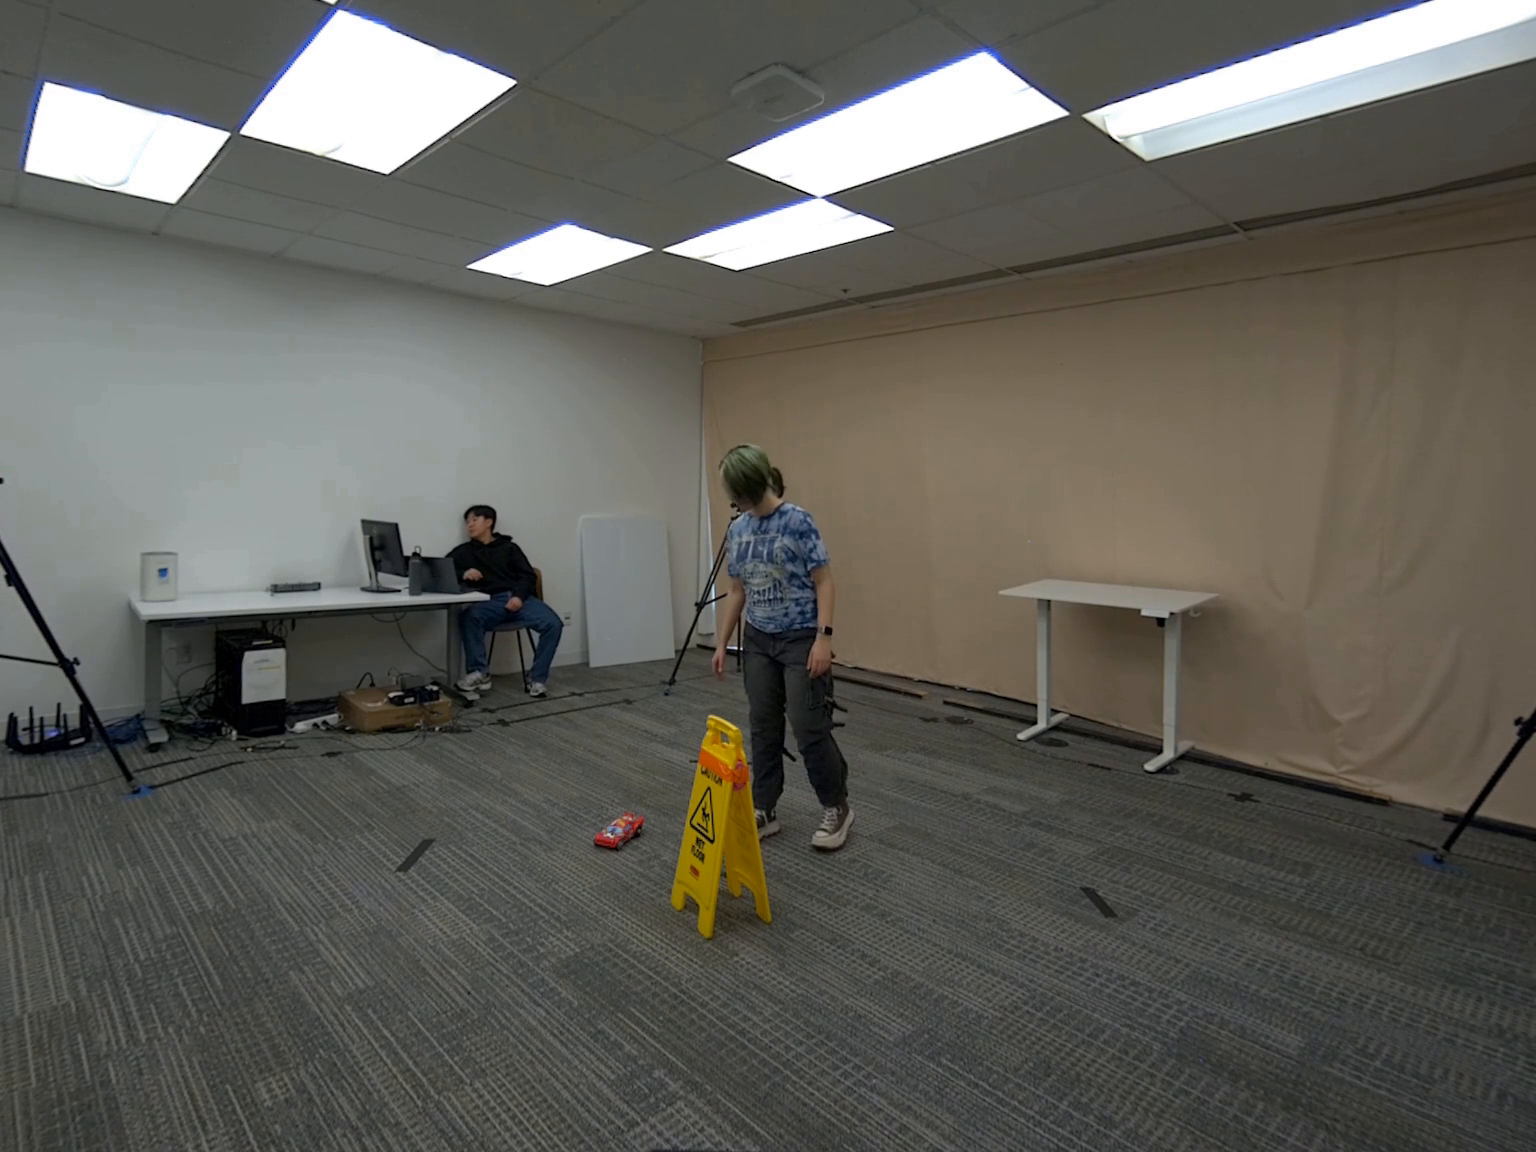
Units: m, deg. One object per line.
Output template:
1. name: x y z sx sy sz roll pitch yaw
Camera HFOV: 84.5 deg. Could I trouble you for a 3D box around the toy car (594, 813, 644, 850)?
1. toy car: -0.609 1.036 3.406 0.132 0.082 0.253 2 15 21
